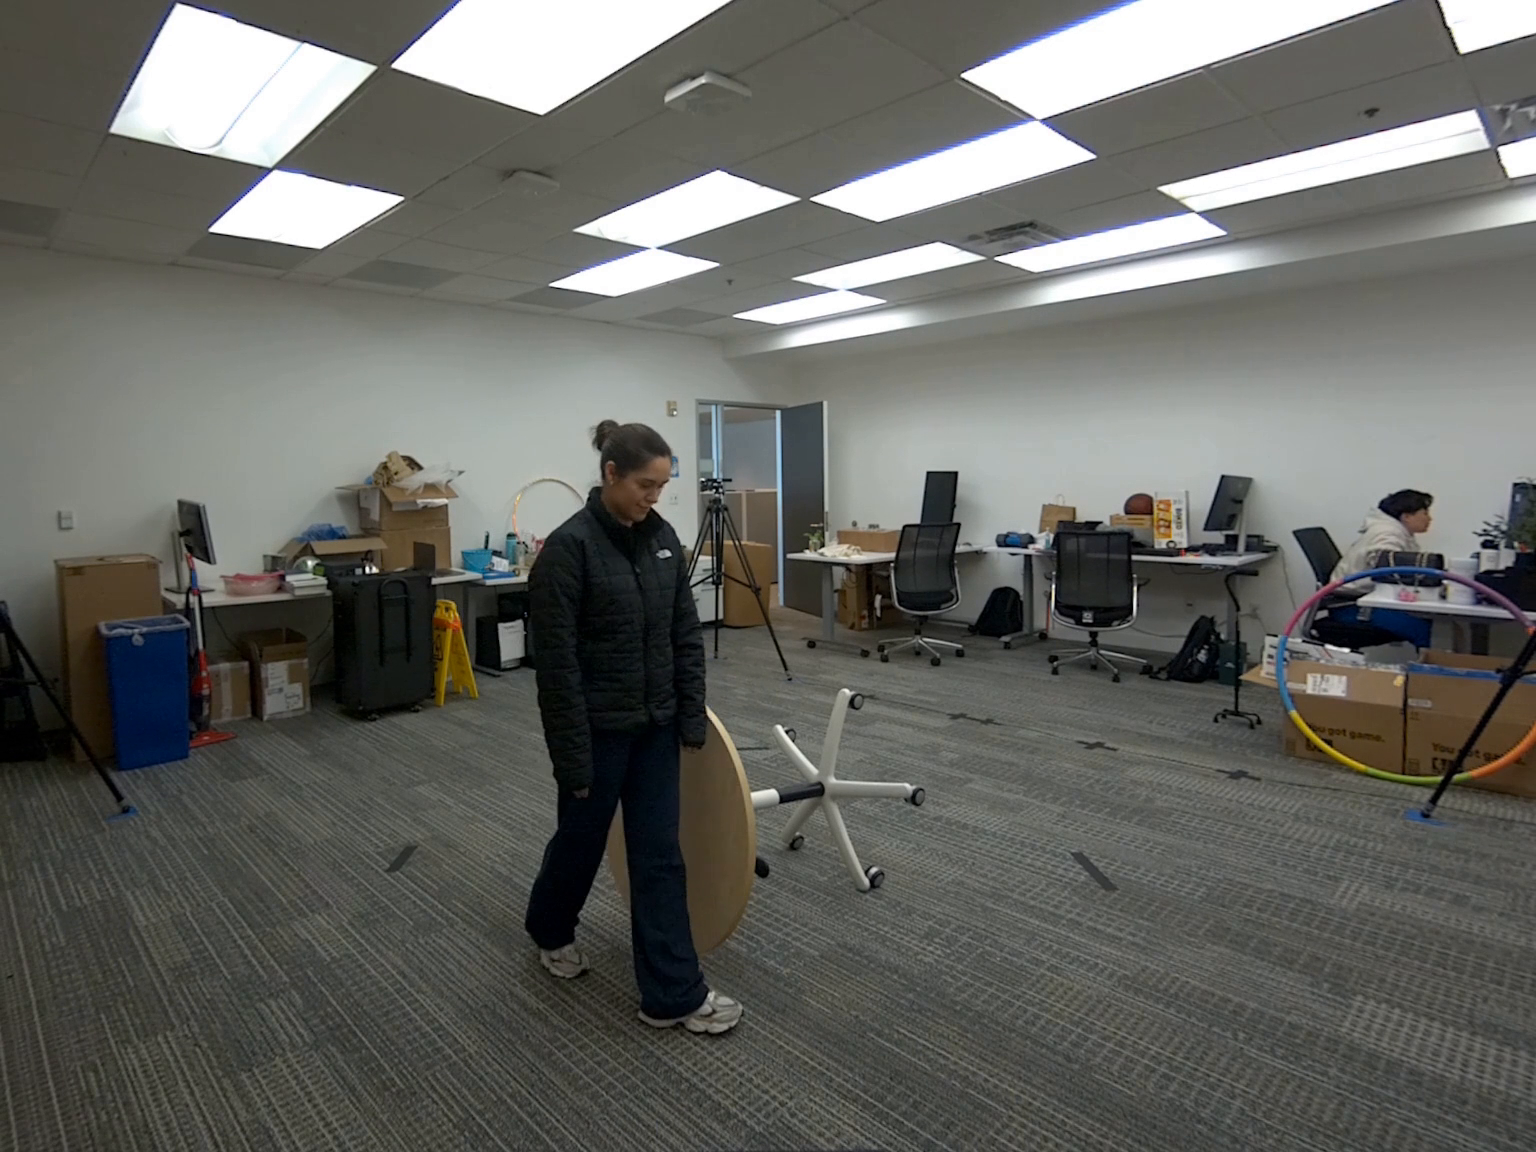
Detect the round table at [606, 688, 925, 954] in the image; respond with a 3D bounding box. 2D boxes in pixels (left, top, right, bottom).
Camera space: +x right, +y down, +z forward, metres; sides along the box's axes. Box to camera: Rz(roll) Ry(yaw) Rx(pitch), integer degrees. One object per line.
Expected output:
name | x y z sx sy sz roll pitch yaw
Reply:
round table | -0.001 0.738 2.834 0.763 0.784 0.809 2 2 -40
